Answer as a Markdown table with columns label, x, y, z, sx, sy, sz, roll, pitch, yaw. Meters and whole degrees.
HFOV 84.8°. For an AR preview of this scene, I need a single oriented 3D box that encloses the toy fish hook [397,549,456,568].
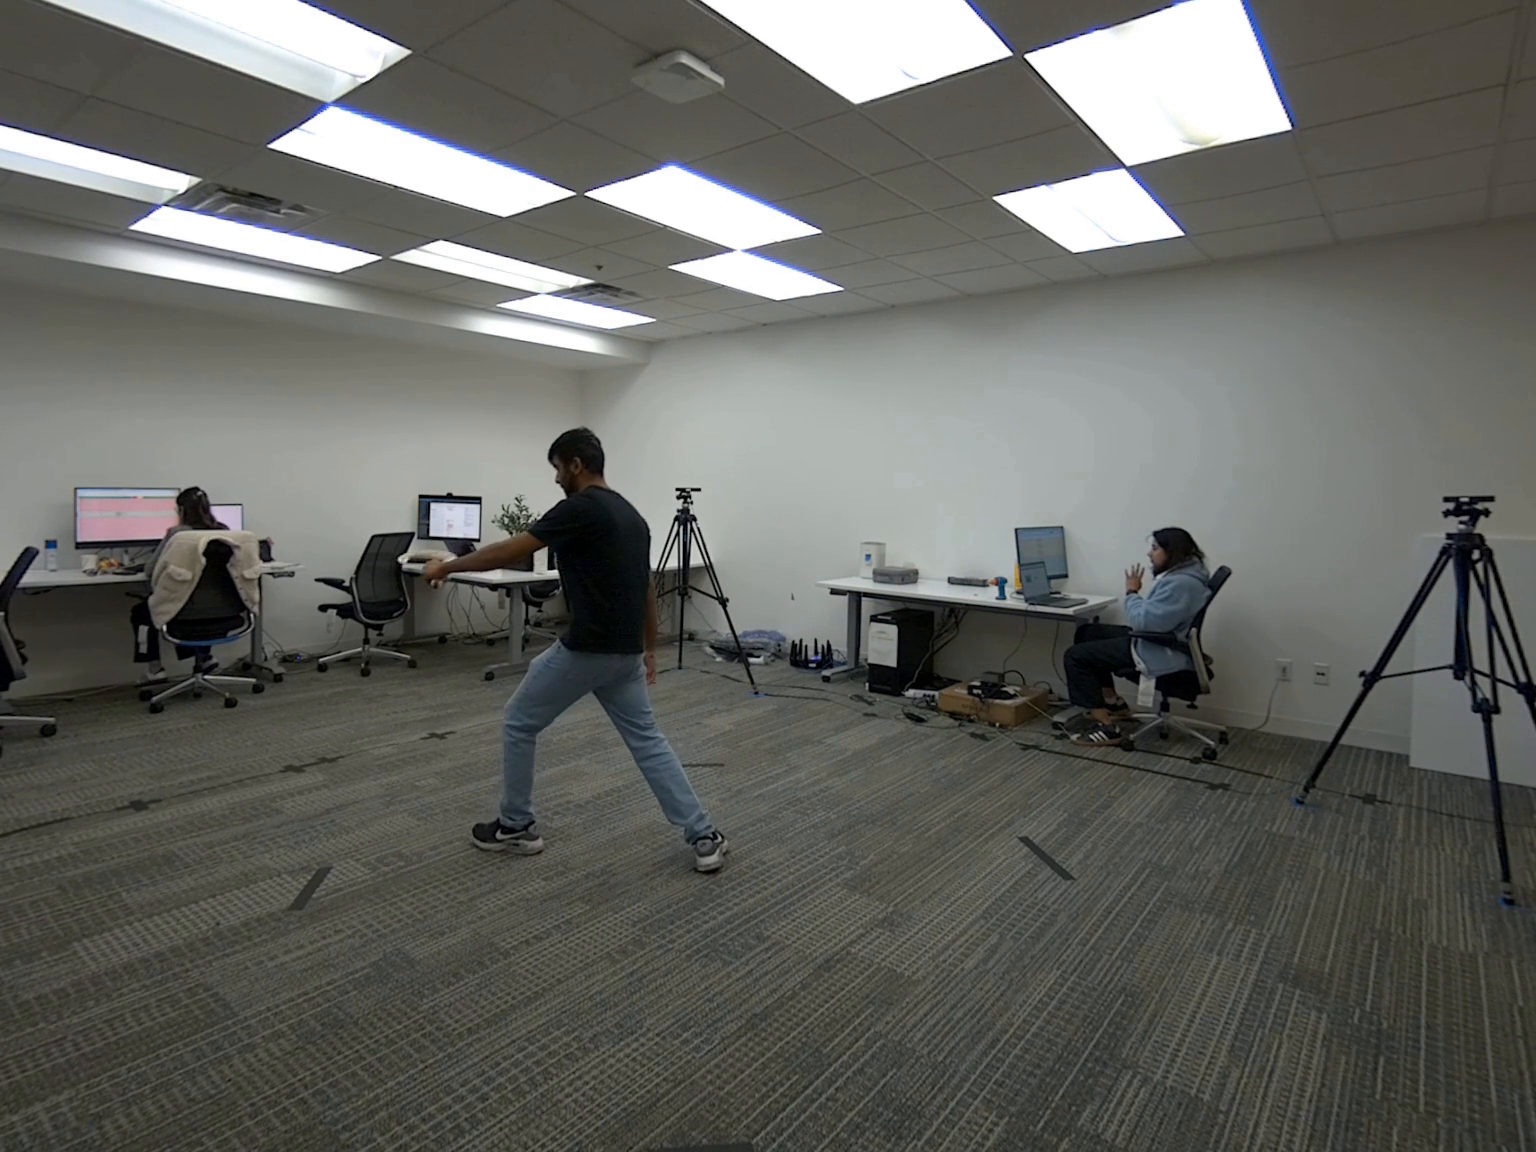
| label | x | y | z | sx | sy | sz | roll | pitch | yaw |
| --- | --- | --- | --- | --- | --- | --- | --- | --- | --- |
| toy fish hook | -1.305 | -0.023 | 3.264 | 0.220 | 0.048 | 0.522 | -3 | 14 | -20 |
